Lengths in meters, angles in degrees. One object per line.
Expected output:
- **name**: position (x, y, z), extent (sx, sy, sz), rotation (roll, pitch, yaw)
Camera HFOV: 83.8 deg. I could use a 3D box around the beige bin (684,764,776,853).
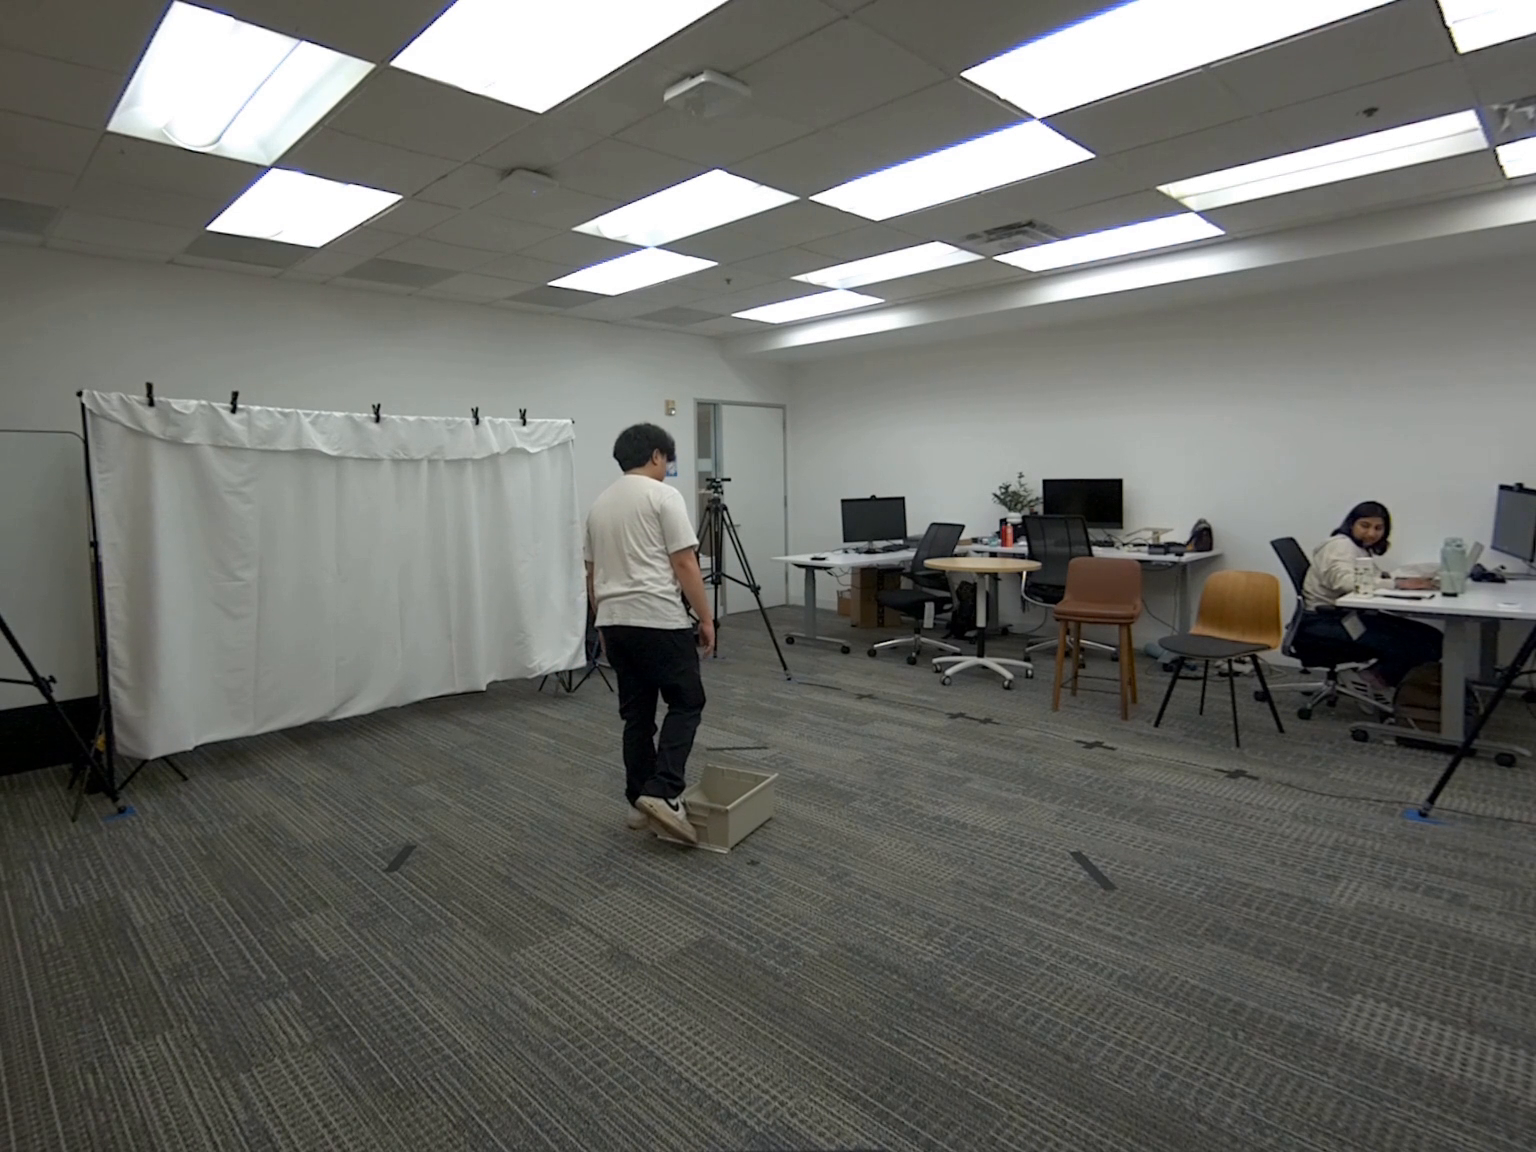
- **beige bin**: position (-0.220, 0.915, 3.438), extent (0.387, 0.188, 0.413), rotation (5, 7, 28)
